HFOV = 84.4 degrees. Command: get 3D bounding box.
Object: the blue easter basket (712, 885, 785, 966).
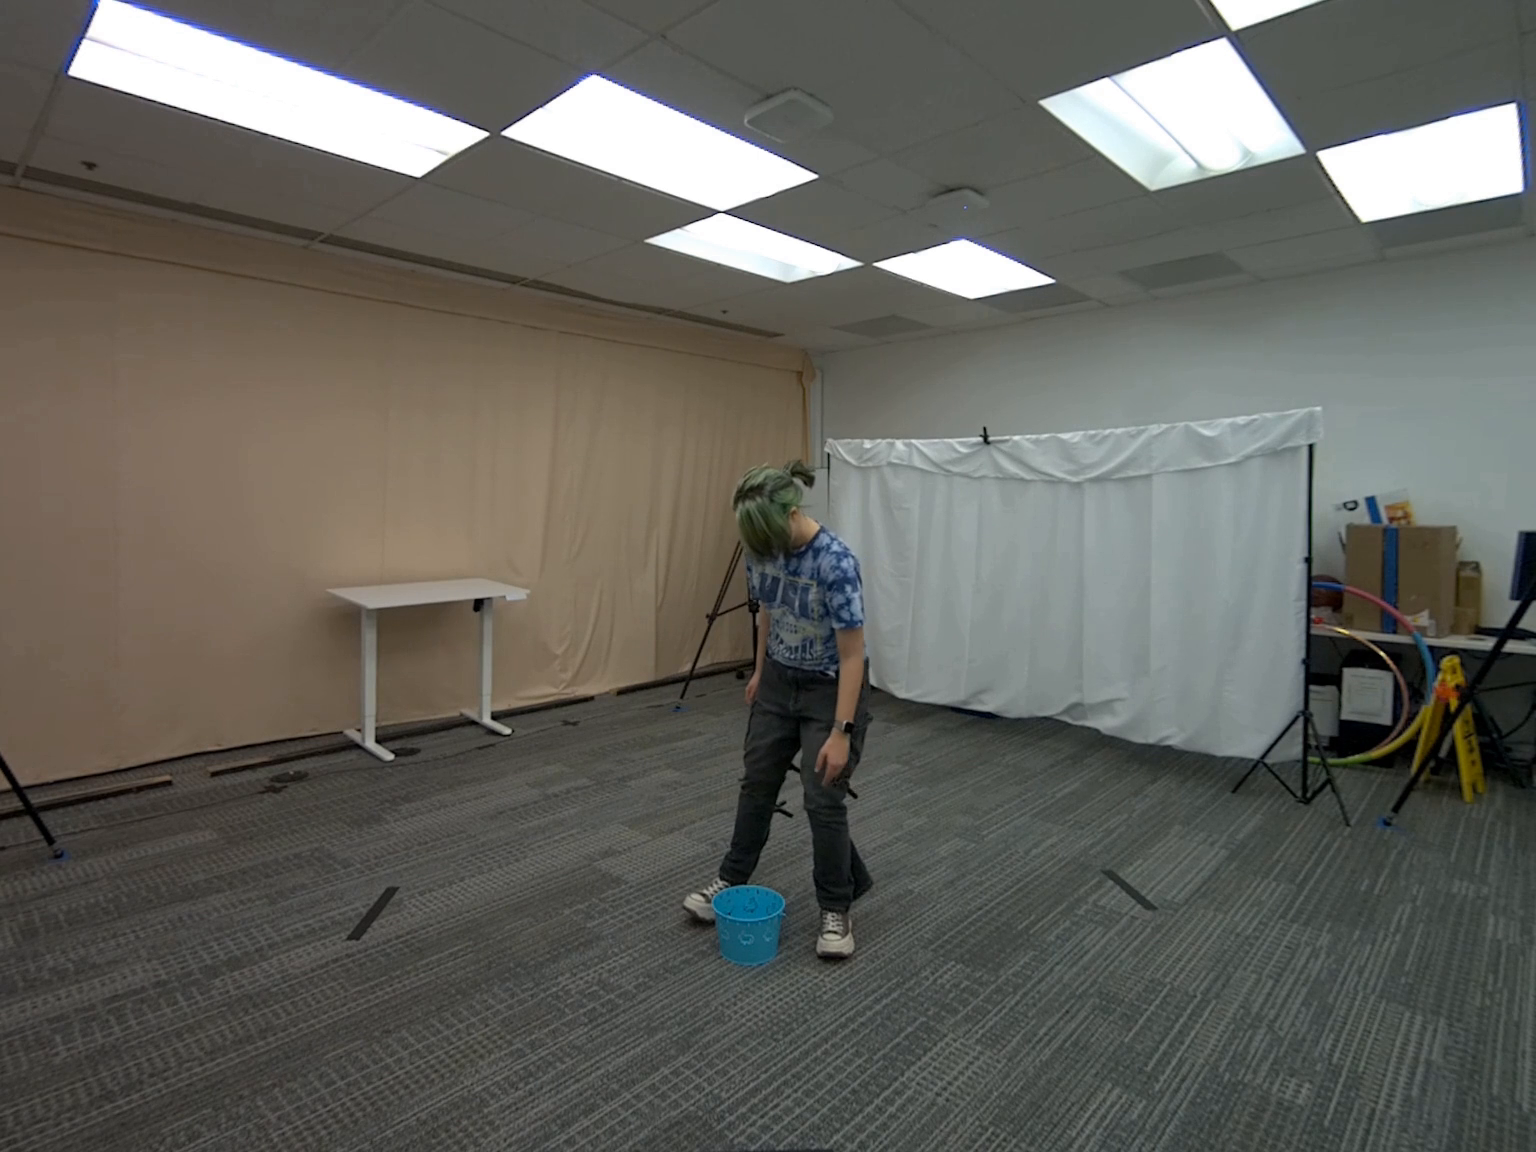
[{"bbox_3d":[-0.051,1.095,2.644,0.243,0.155,0.244,-1,5,-2],"label":"blue easter basket"}]
